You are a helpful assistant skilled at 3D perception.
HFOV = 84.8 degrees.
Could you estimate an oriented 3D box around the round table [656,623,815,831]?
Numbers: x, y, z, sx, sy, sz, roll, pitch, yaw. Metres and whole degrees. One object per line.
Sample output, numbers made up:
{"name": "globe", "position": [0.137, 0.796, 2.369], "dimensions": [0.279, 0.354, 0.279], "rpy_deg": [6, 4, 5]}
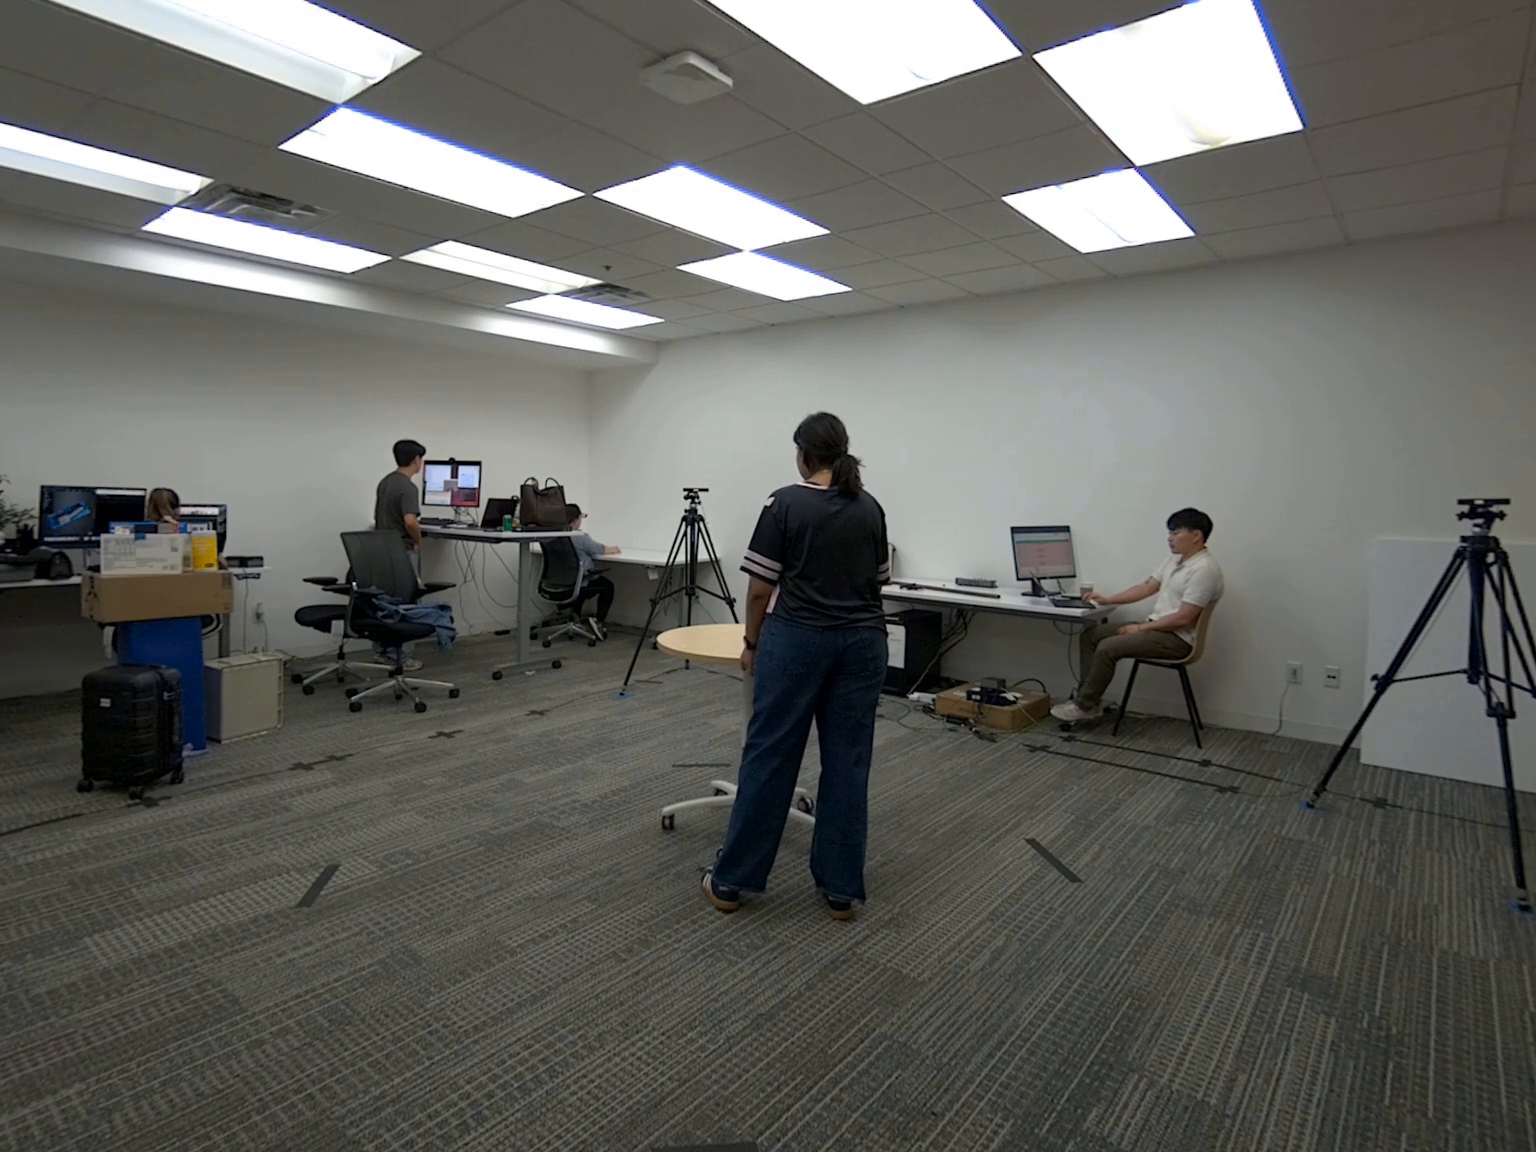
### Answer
{"name": "round table", "position": [-0.087, 0.647, 3.481], "dimensions": [0.763, 0.791, 0.768], "rpy_deg": [1, 4, -2]}
